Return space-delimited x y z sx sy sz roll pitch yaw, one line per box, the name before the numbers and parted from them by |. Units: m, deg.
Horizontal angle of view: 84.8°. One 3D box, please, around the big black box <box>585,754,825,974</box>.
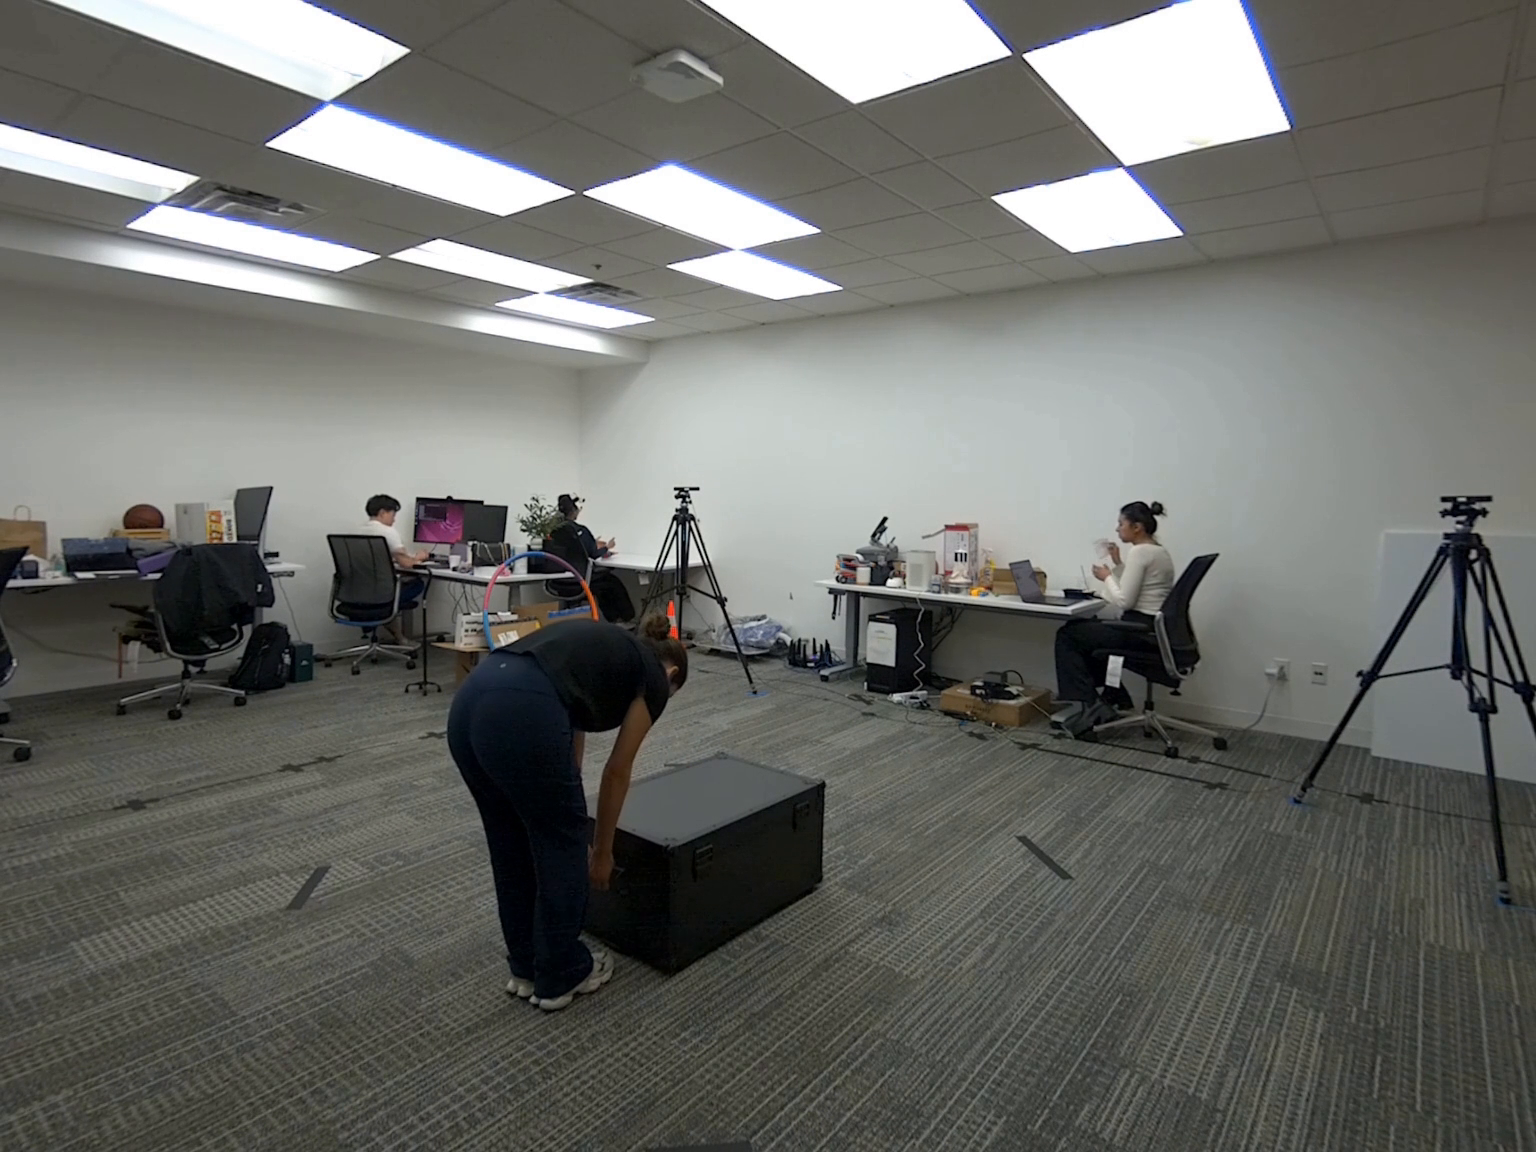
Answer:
big black box | -0.196 0.901 2.863 0.539 0.394 0.837 5 7 39
